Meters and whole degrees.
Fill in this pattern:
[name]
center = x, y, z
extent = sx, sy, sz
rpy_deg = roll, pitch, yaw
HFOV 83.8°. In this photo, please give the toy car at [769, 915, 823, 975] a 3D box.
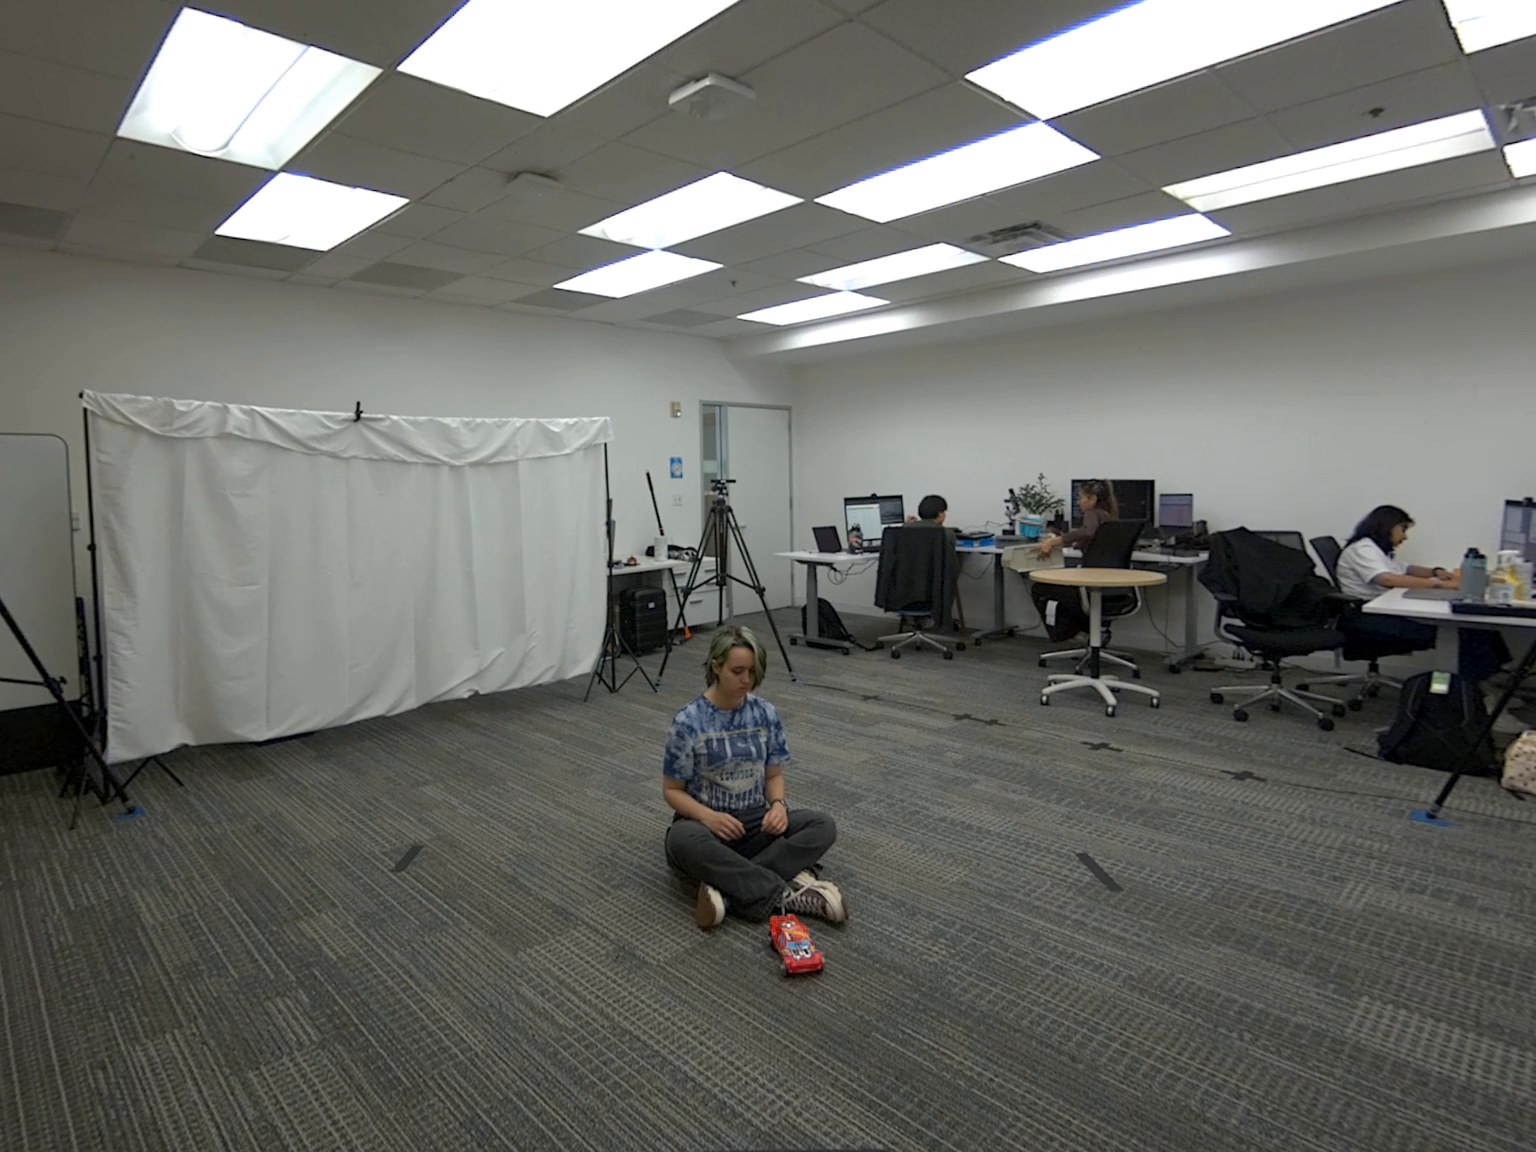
[toy car]
center = 0.073, 1.084, 2.506
extent = 0.129, 0.082, 0.261
rpy_deg = -4, 17, -13
